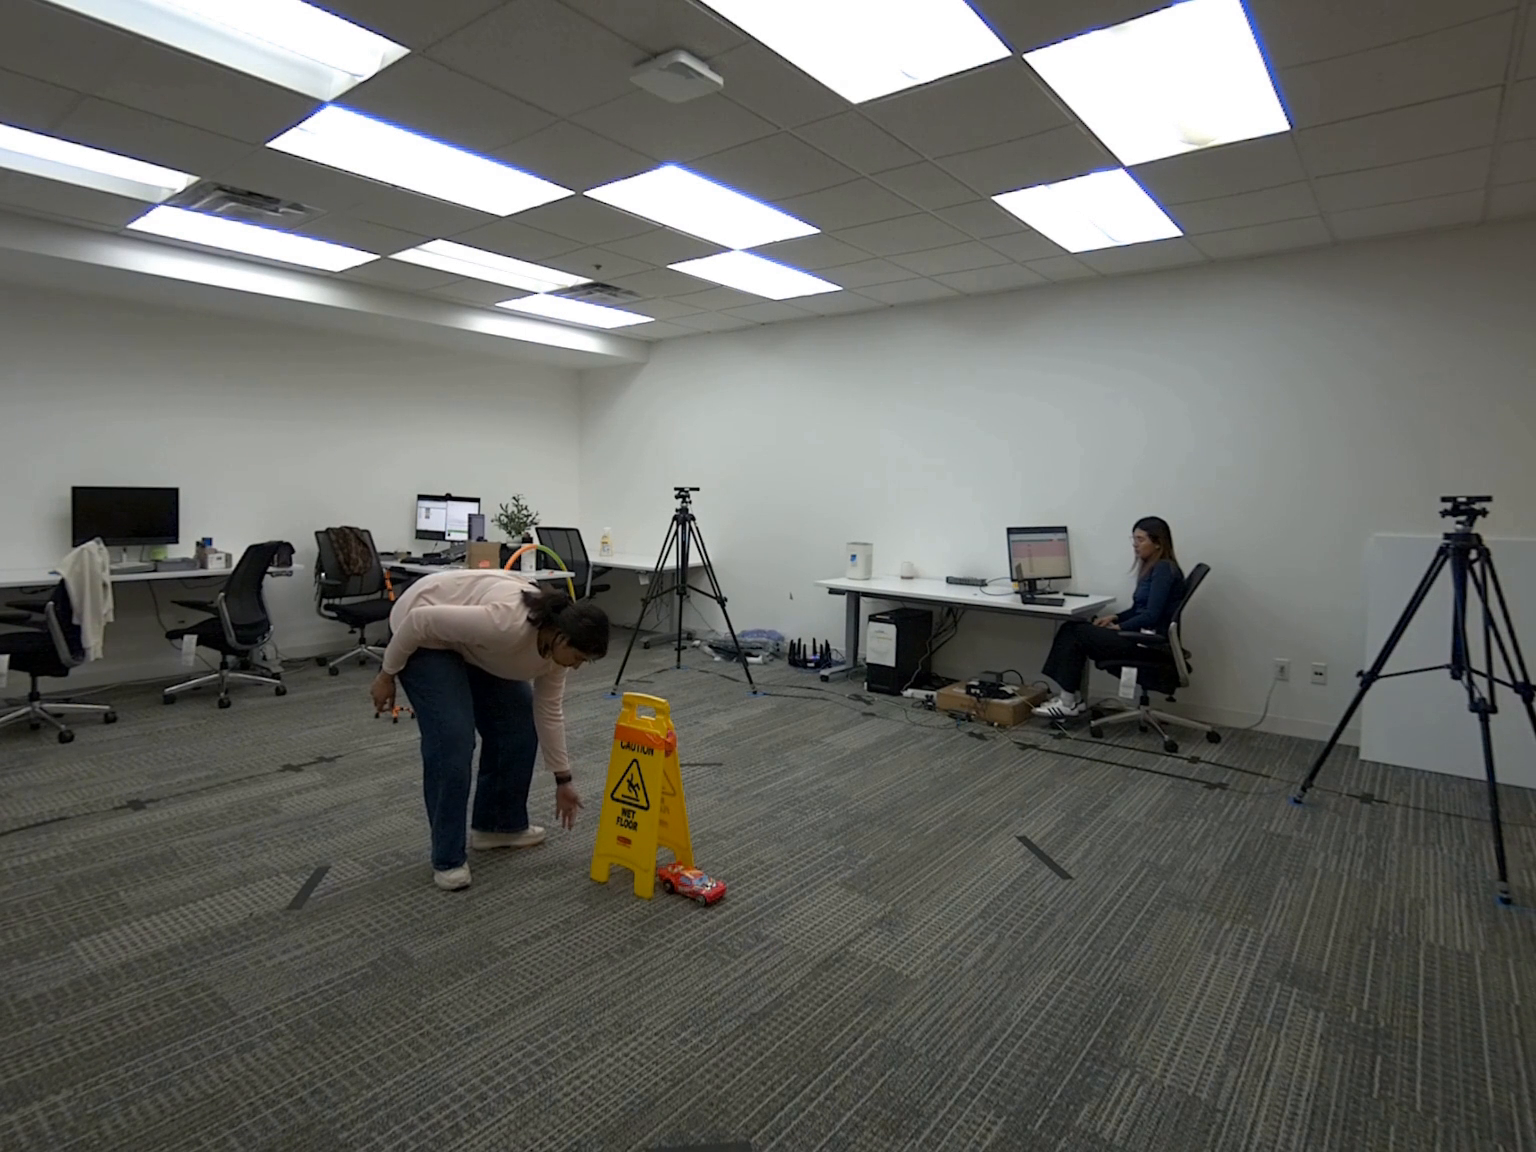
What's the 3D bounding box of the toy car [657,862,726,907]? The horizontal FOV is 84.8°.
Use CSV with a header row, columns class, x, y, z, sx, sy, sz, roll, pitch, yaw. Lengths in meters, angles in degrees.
class,x,y,z,sx,sy,sz,roll,pitch,yaw
toy car,-0.277,1.058,2.915,0.264,0.082,0.127,16,14,36
